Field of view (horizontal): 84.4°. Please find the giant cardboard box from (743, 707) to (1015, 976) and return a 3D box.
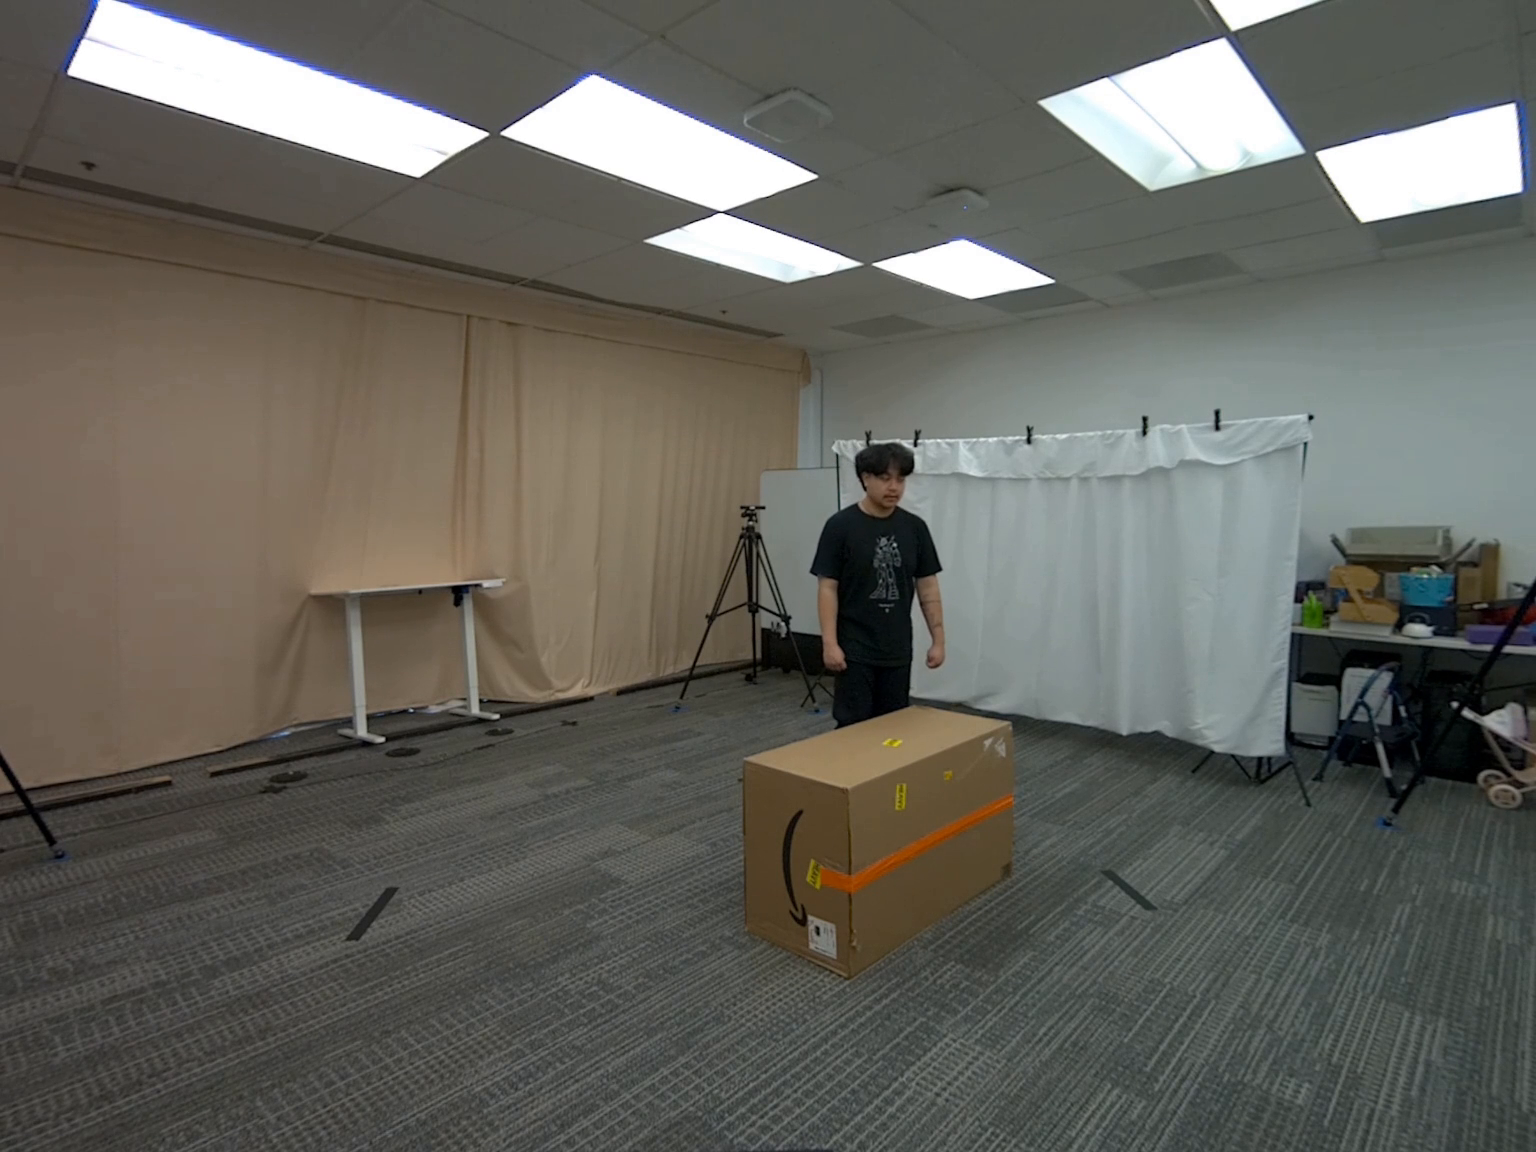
[{"bbox_3d":[0.423,0.861,2.952,0.462,0.582,0.996,5,7,44],"label":"giant cardboard box"}]
